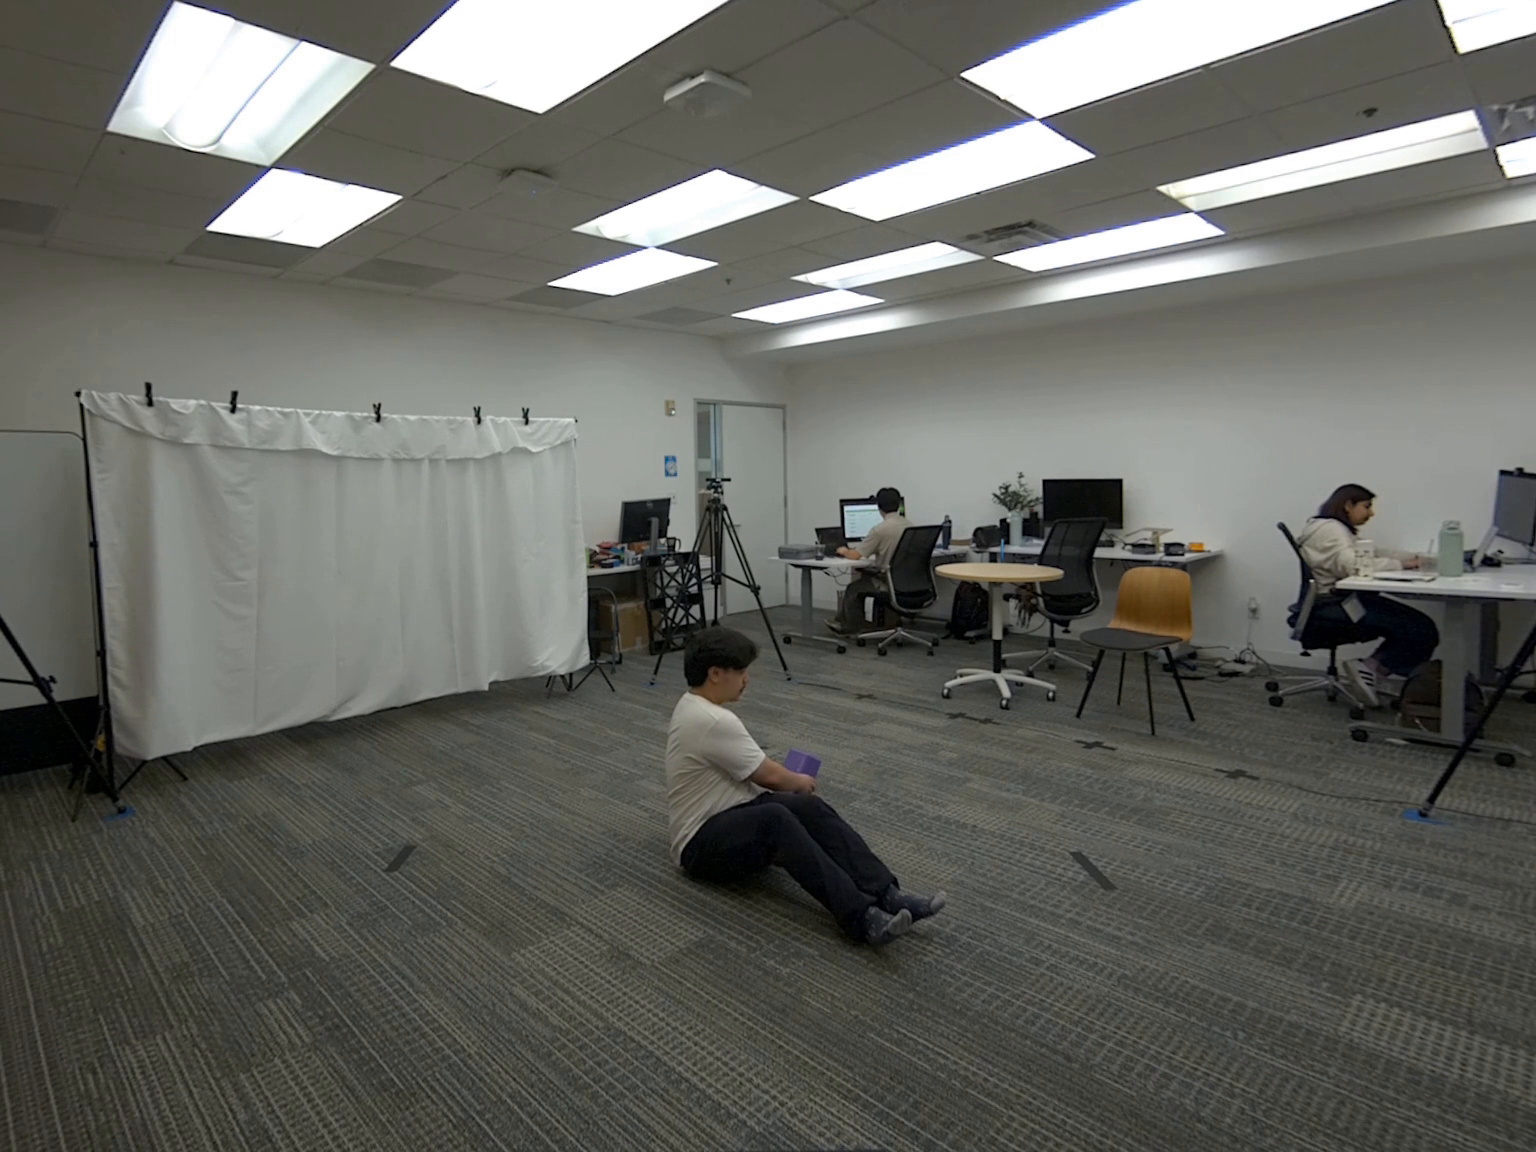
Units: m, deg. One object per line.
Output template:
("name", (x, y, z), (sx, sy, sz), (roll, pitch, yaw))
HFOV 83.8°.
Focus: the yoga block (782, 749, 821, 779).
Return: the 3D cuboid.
("yoga block", (0.123, 0.815, 3.415), (0.074, 0.231, 0.152), (28, -14, -27))
